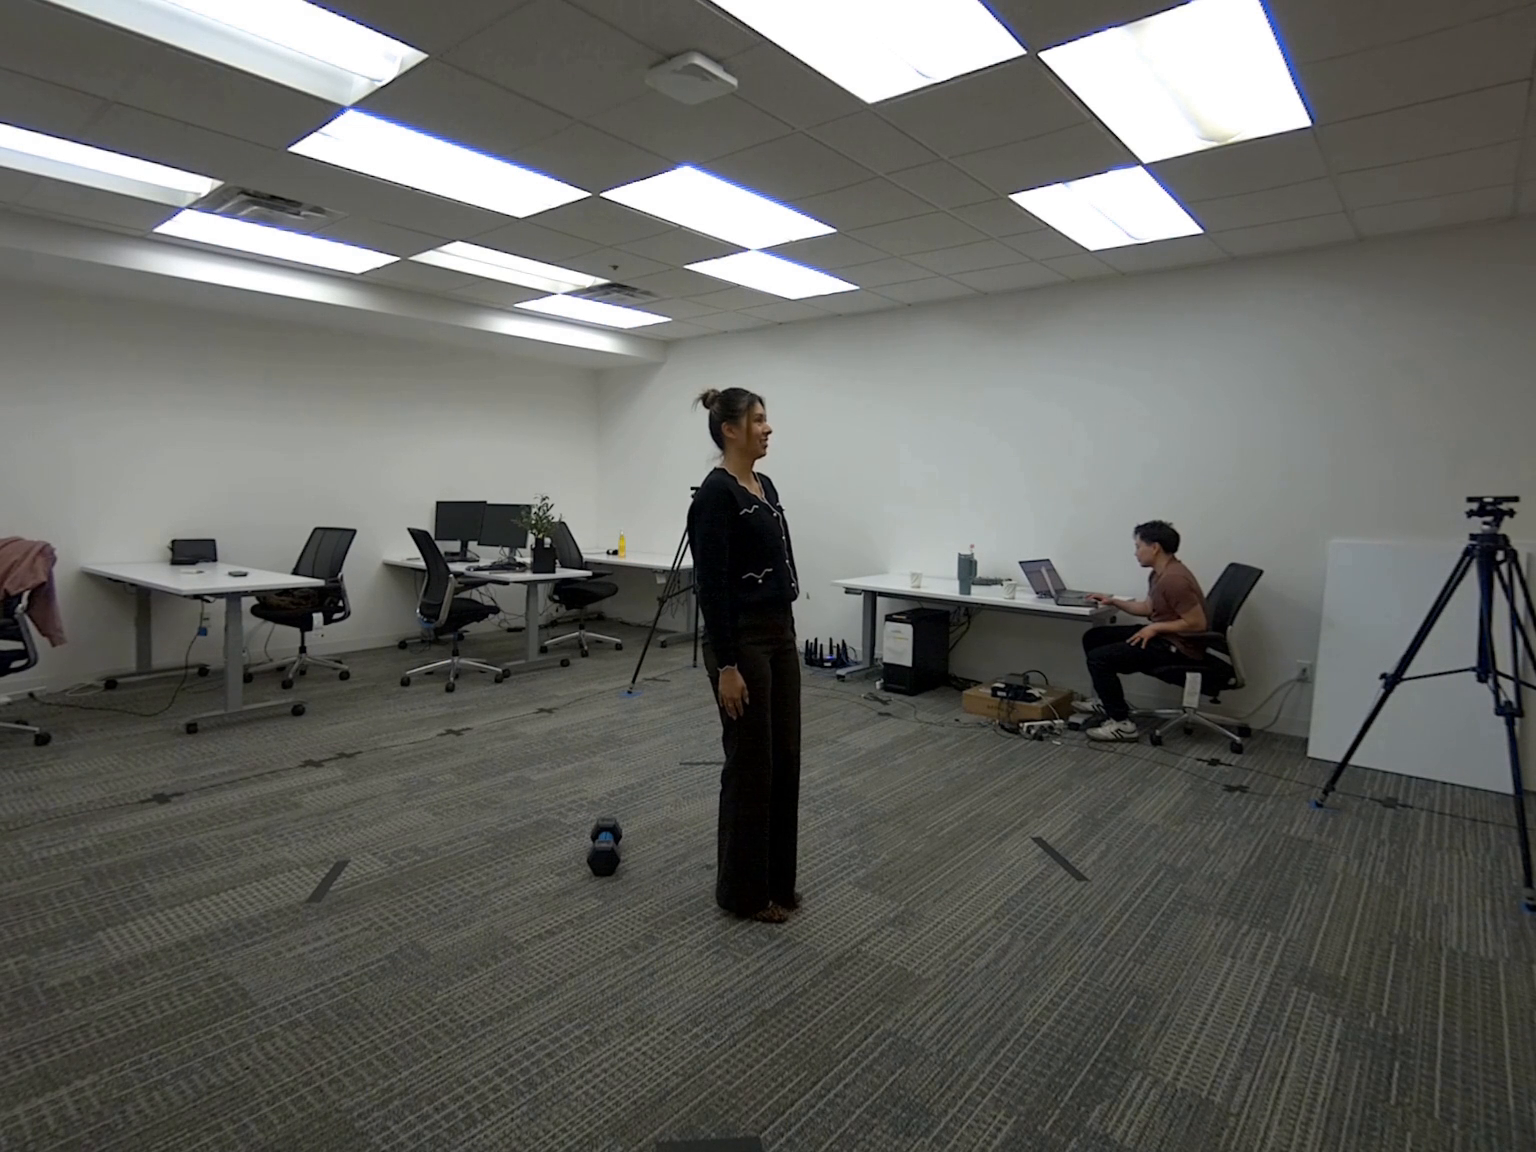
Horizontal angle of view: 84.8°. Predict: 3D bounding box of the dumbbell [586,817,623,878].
[{"bbox_3d":[-0.617,1.001,3.159,0.108,0.122,0.297,-28,9,-5],"label":"dumbbell"}]
